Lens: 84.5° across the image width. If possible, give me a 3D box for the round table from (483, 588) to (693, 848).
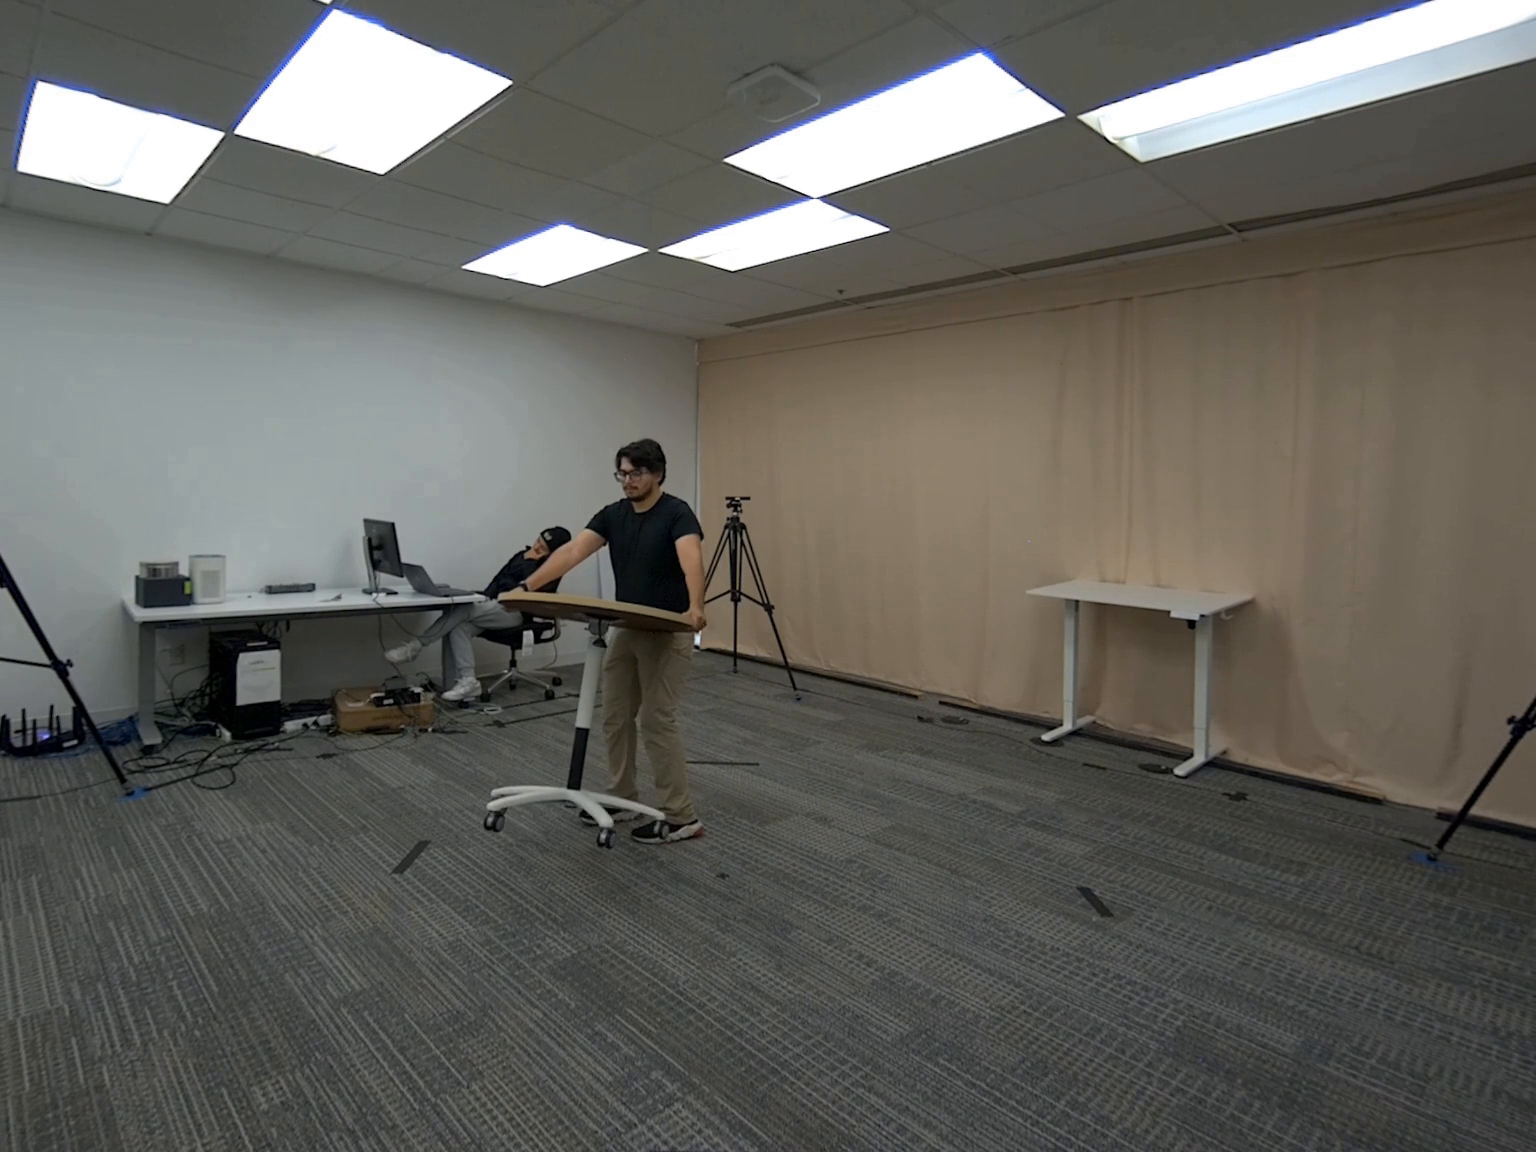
[{"bbox_3d":[-0.673,0.530,3.112,0.785,0.792,0.779,7,-10,0],"label":"round table"}]
